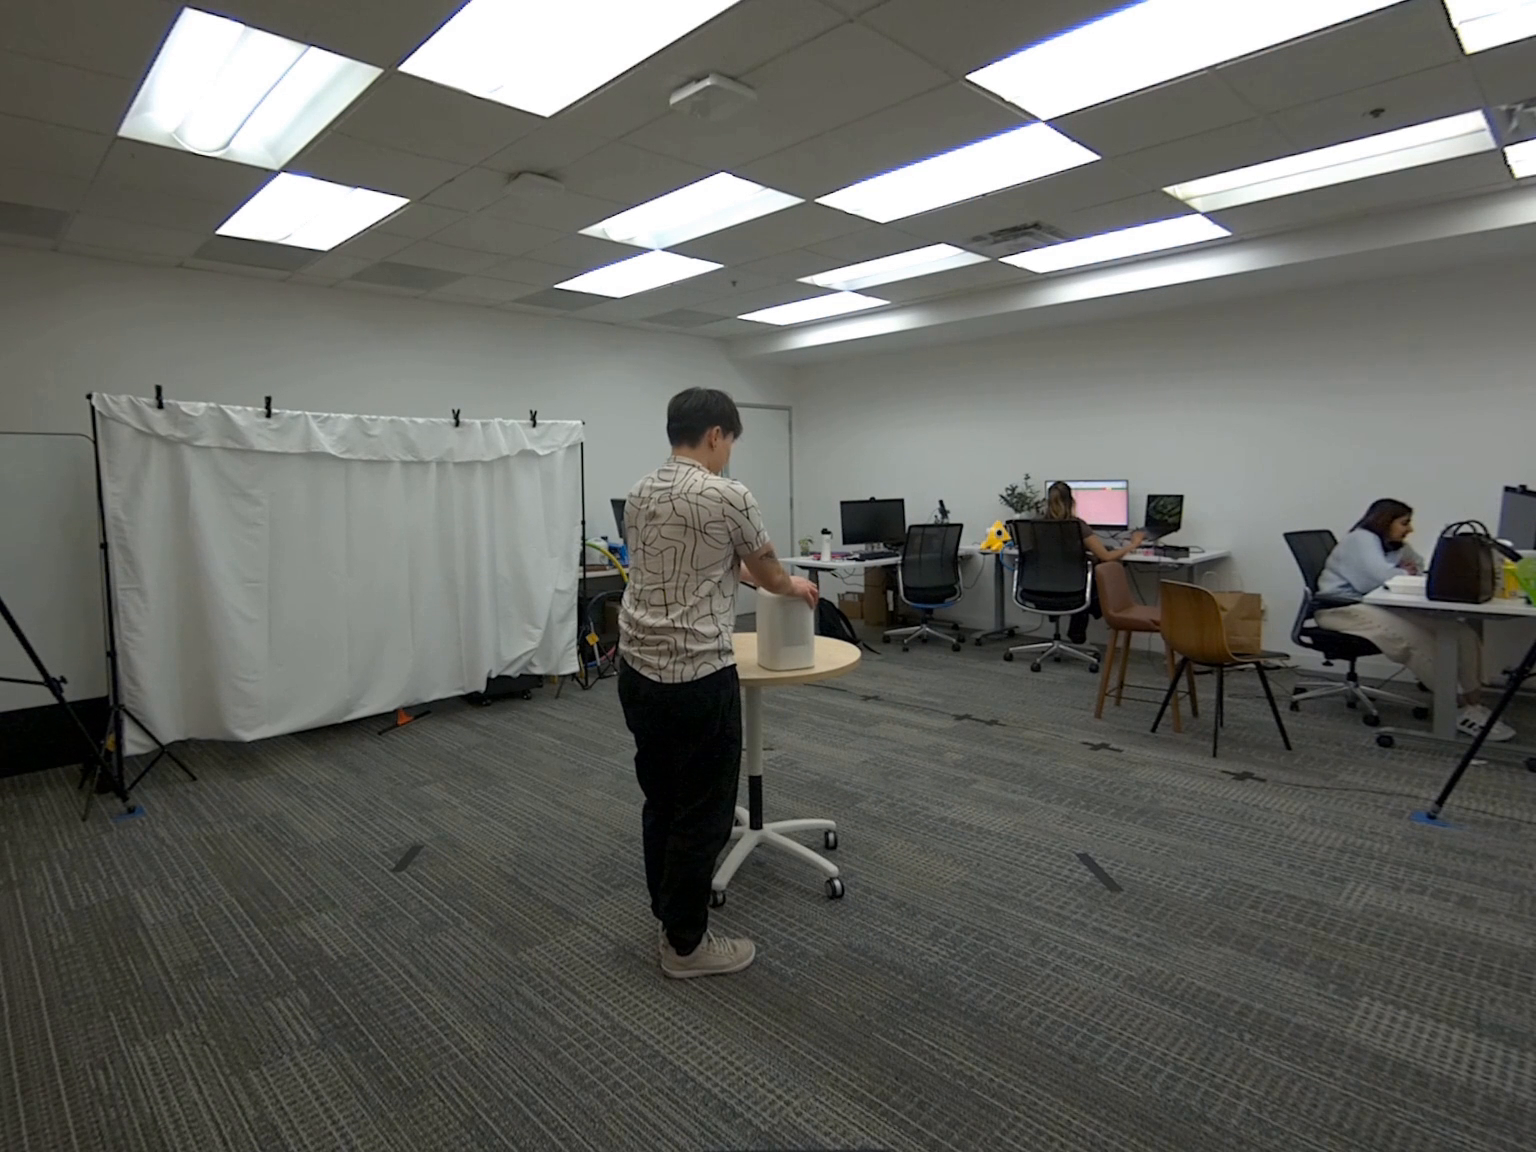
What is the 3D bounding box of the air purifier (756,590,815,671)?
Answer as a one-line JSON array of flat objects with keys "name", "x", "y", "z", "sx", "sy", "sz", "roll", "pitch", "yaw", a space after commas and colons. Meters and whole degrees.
[{"name": "air purifier", "x": 0.053, "y": 0.162, "z": 2.832, "sx": 0.169, "sy": 0.264, "sz": 0.174, "roll": -3, "pitch": 7, "yaw": -15}]
